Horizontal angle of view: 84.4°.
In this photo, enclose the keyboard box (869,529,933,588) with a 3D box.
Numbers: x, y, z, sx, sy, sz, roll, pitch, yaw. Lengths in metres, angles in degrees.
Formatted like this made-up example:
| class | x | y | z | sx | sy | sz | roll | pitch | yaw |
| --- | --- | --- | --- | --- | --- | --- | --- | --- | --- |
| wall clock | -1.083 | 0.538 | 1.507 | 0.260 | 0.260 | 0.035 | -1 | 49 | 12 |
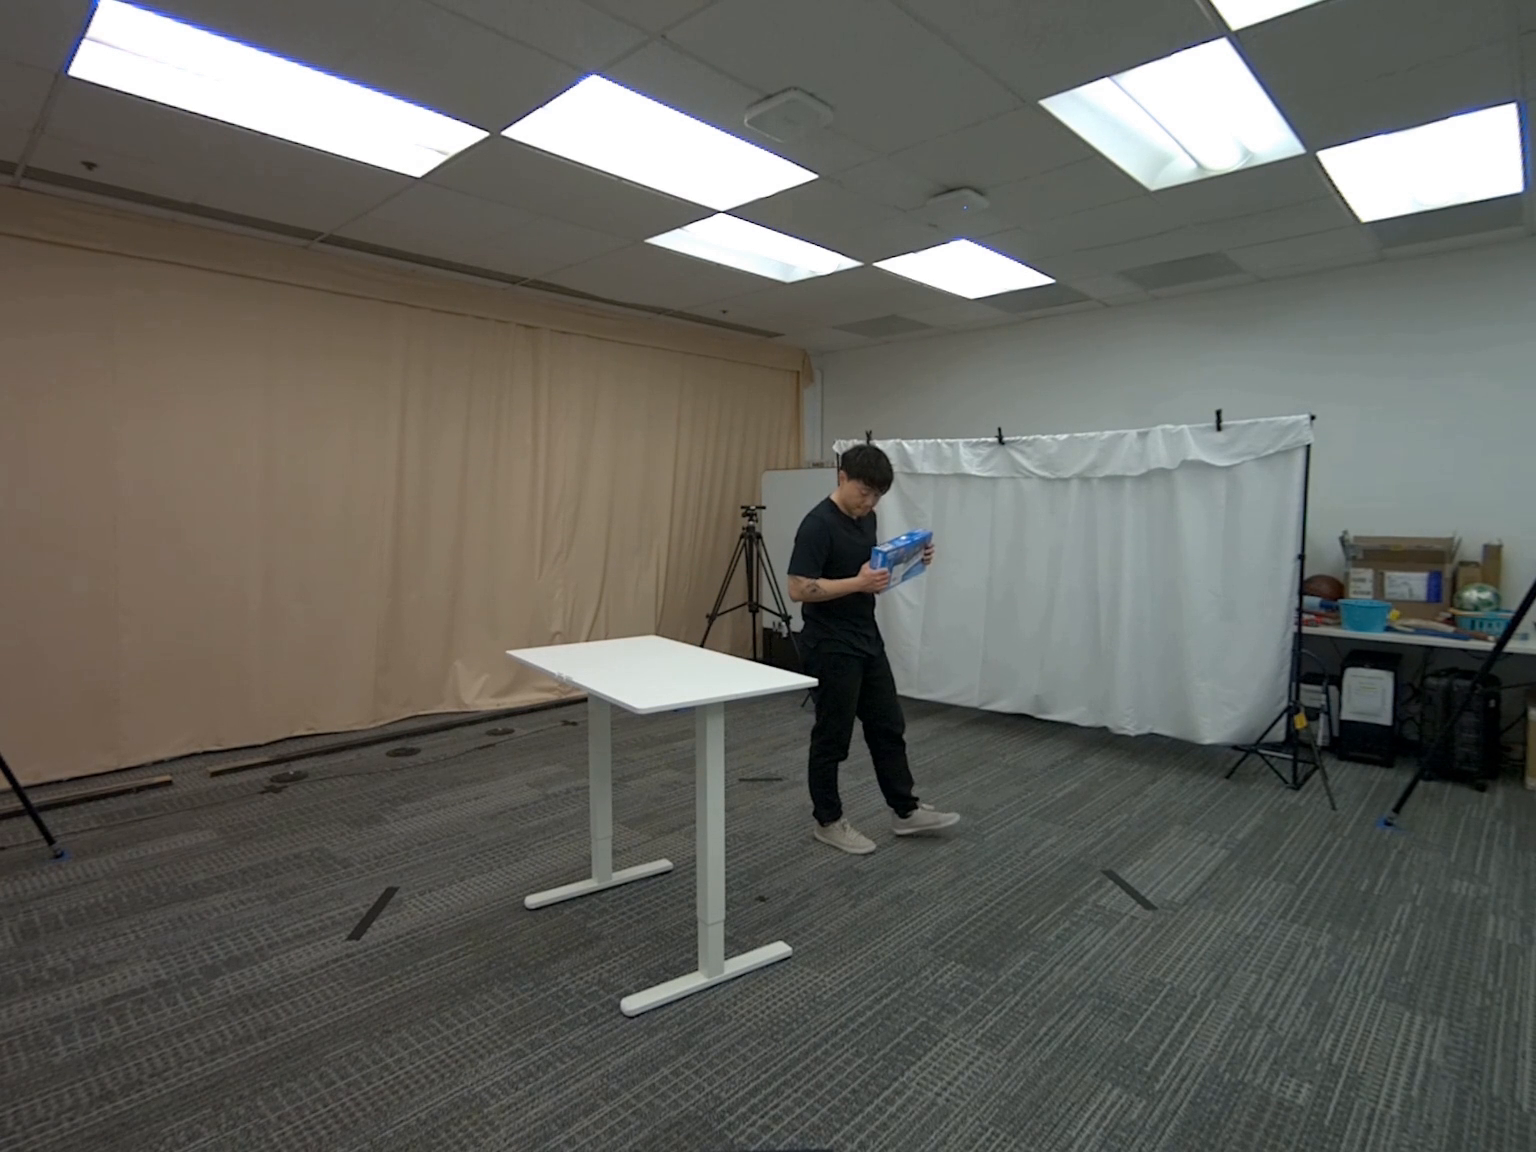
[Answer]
| class | x | y | z | sx | sy | sz | roll | pitch | yaw |
| --- | --- | --- | --- | --- | --- | --- | --- | --- | --- |
| keyboard box | 0.524 | -0.060 | 3.308 | 0.061 | 0.174 | 0.426 | 19 | 23 | 30 |
